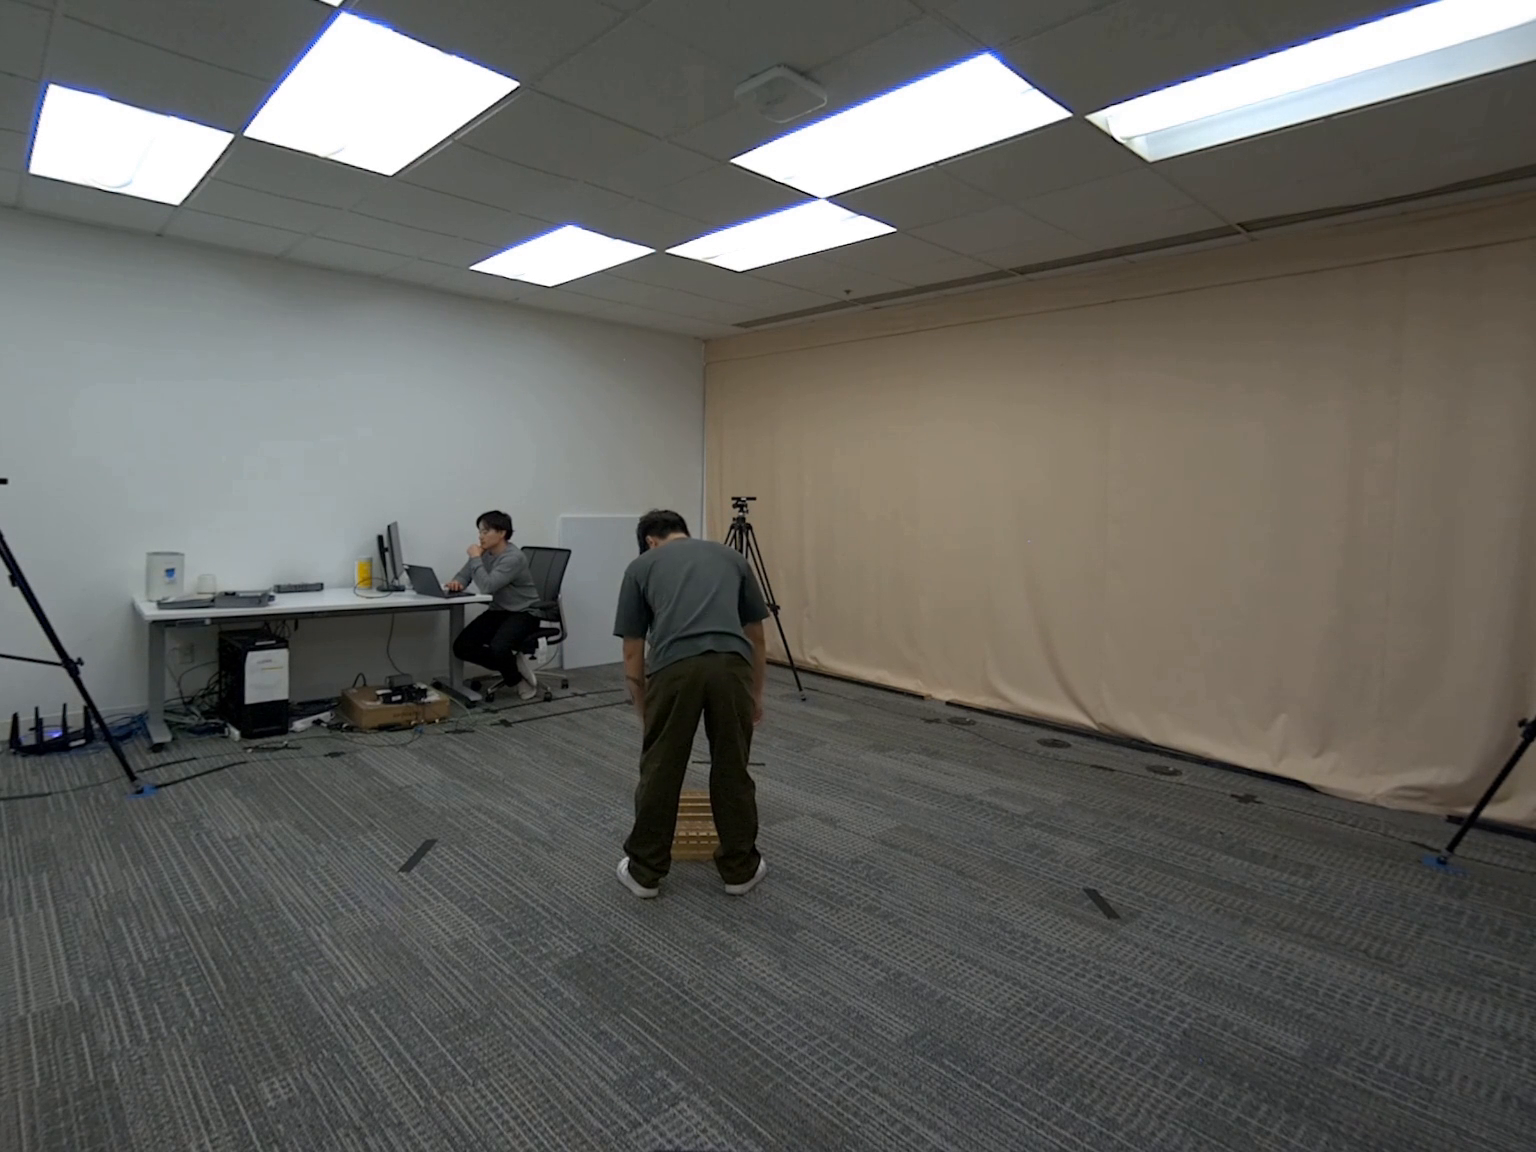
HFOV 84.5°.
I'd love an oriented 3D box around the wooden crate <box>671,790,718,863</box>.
[{"bbox_3d":[-0.296,0.954,3.336,0.323,0.273,0.304,1,3,-6],"label":"wooden crate"}]
